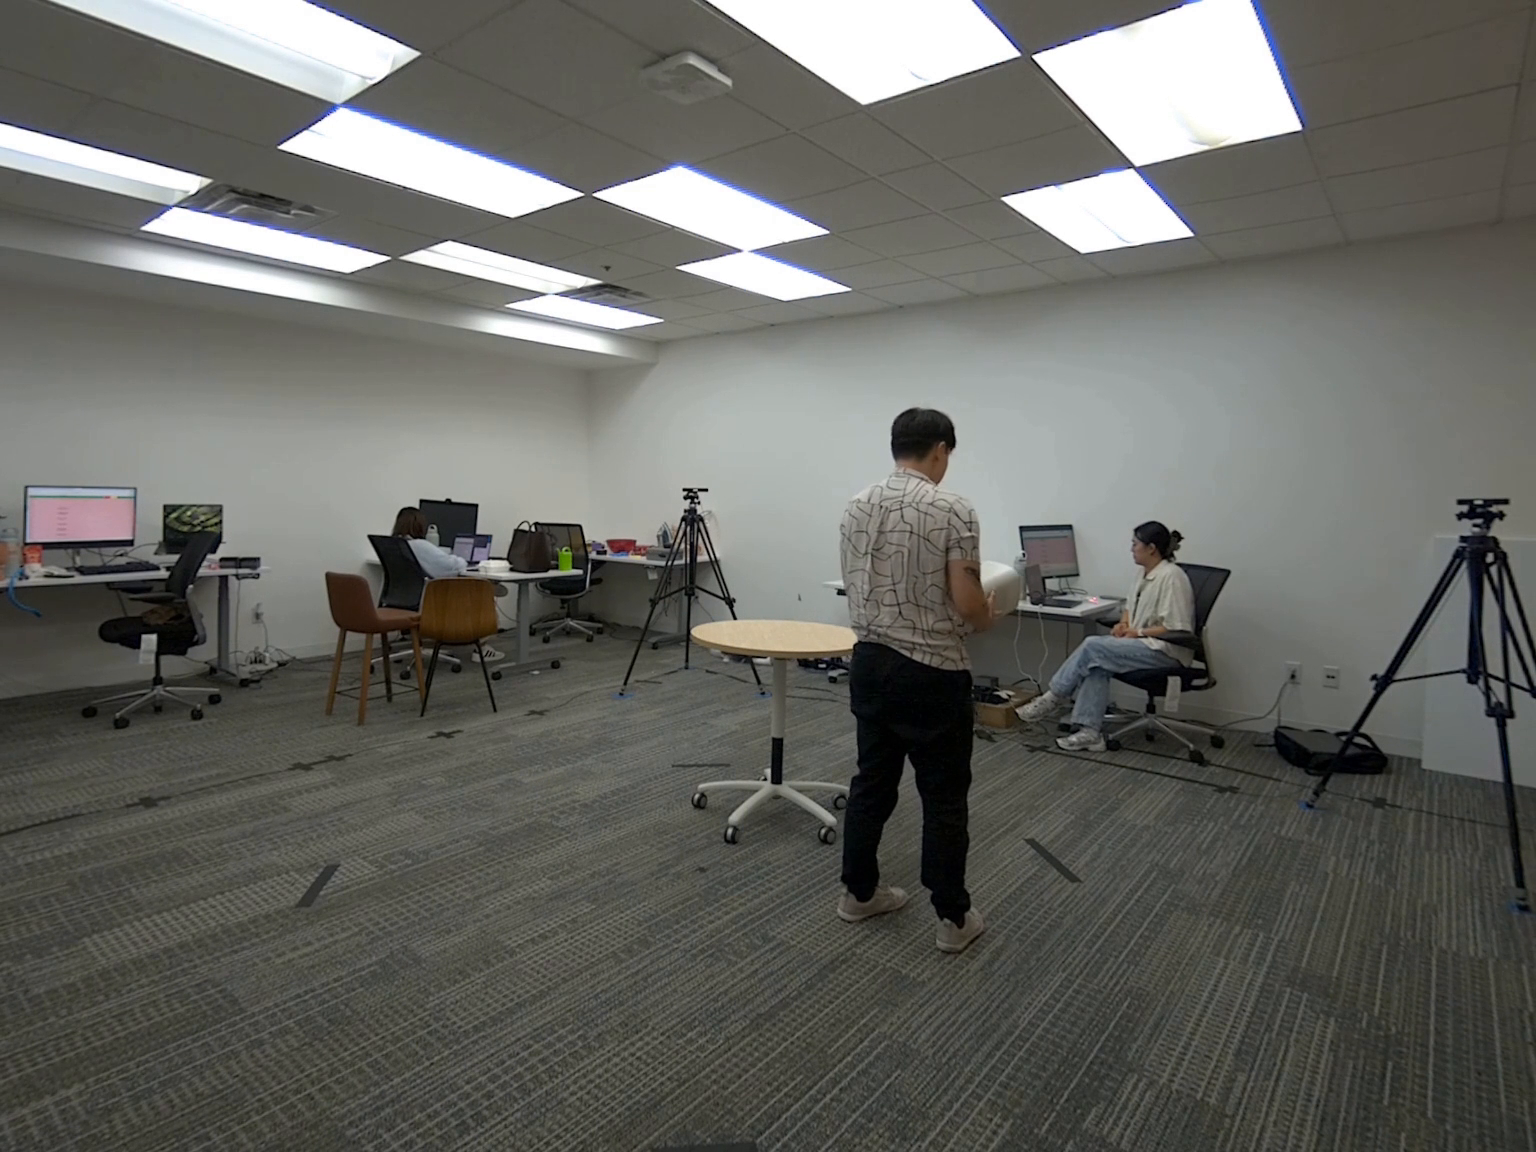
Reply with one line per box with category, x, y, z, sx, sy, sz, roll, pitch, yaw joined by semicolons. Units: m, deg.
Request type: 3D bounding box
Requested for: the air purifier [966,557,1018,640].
air purifier;0.690;0.066;2.860;0.260;0.168;0.178;-20;26;-35
